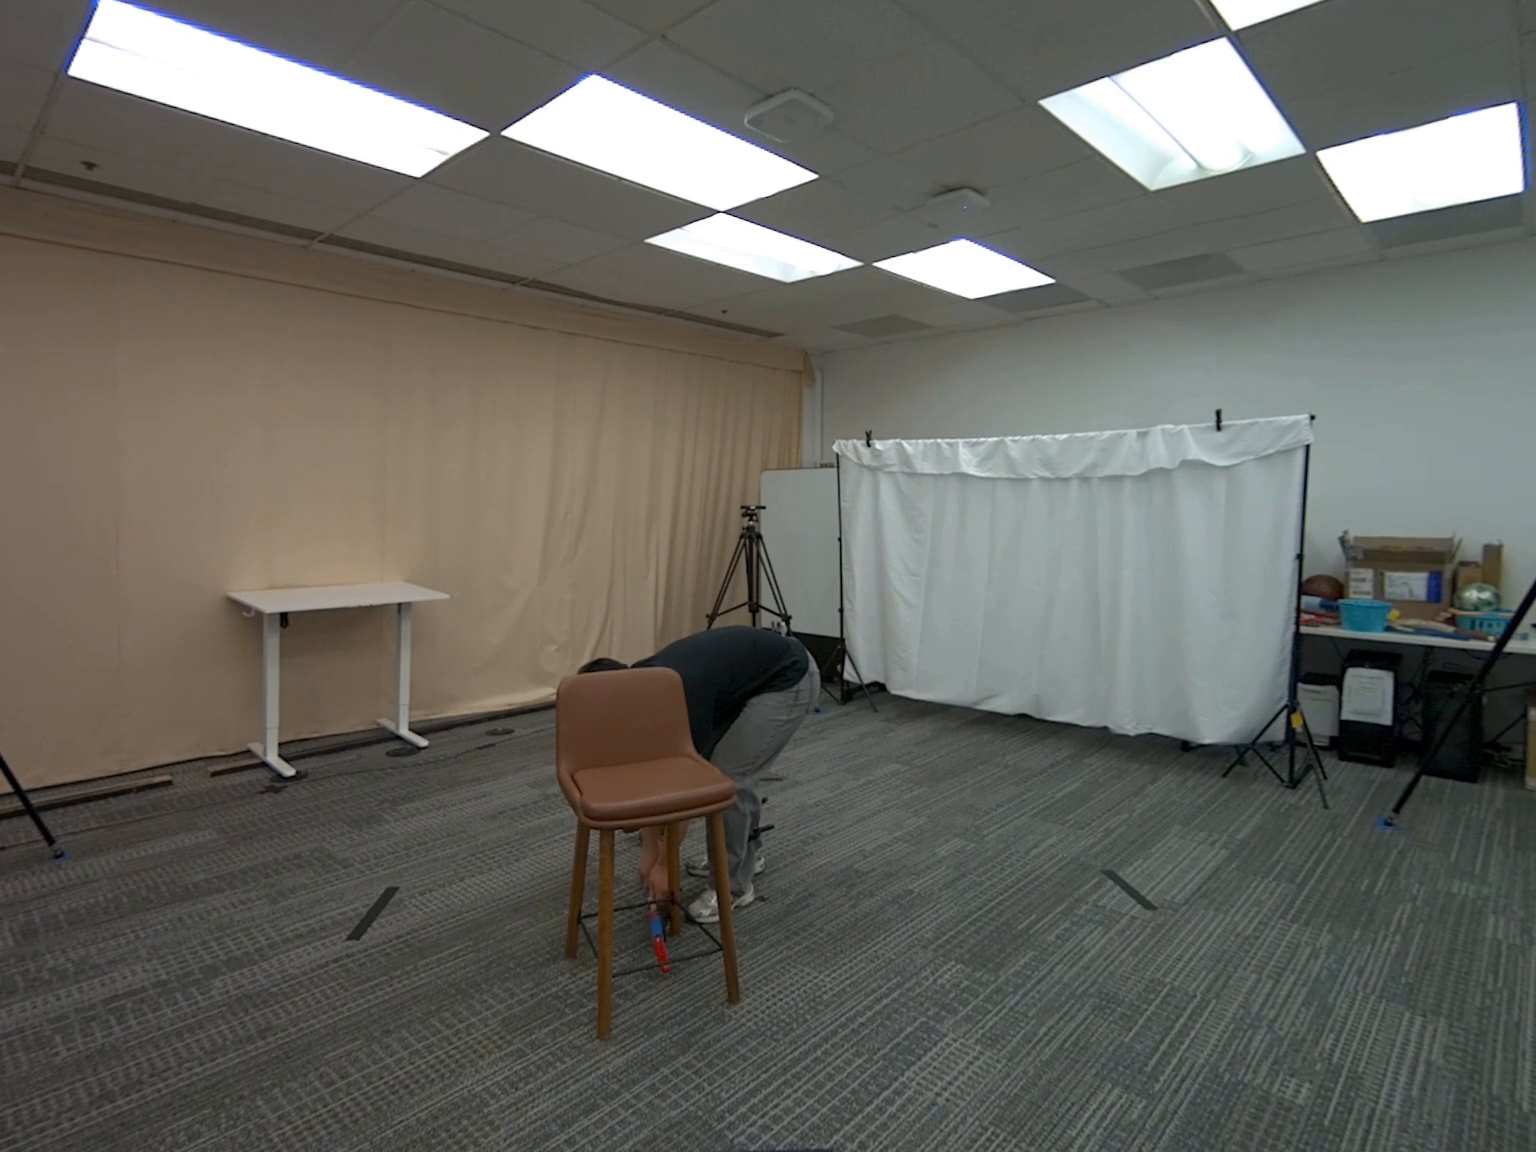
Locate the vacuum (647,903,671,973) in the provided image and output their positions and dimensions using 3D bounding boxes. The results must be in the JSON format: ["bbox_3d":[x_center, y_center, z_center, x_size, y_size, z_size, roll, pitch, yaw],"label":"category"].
[{"bbox_3d":[-0.393,1.084,3.007,0.251,0.143,1.063,-26,10,-7],"label":"vacuum"}]
